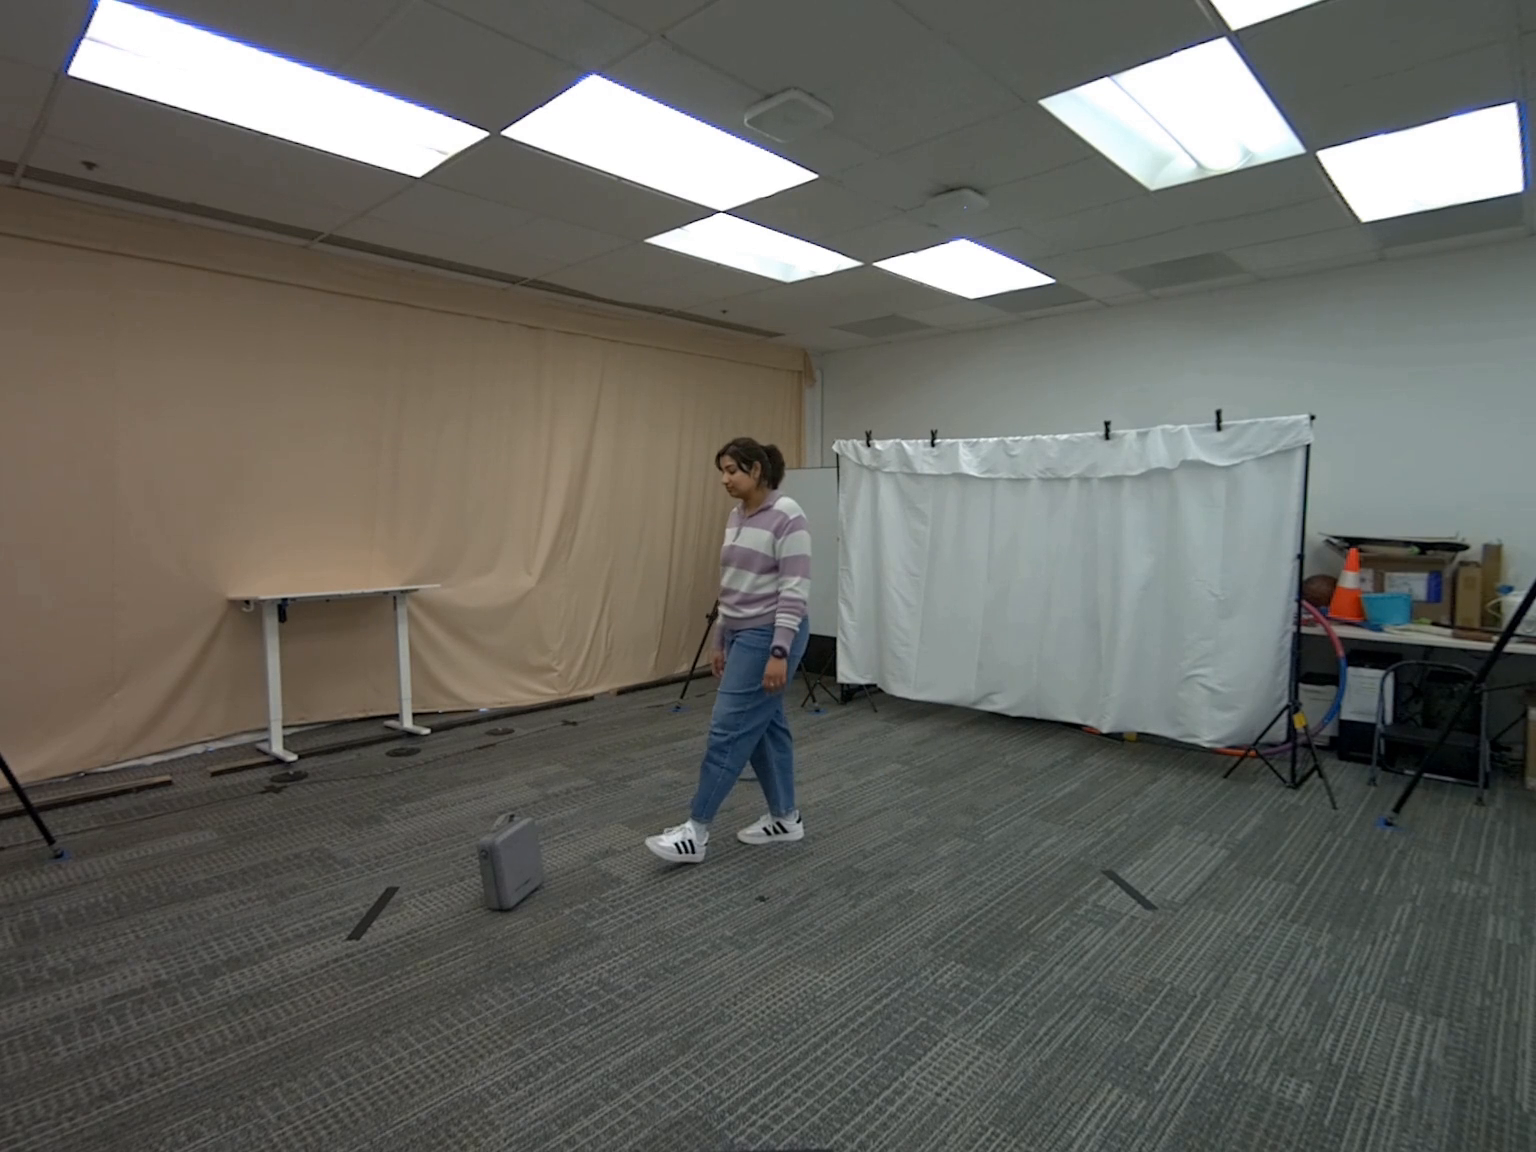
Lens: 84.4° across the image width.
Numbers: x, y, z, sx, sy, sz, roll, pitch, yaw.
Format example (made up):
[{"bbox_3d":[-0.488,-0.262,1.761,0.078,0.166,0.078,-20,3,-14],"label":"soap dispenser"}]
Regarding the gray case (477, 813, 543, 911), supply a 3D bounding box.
[{"bbox_3d":[-0.915,1.011,3.004,0.106,0.261,0.252,-6,-1,17],"label":"gray case"}]
